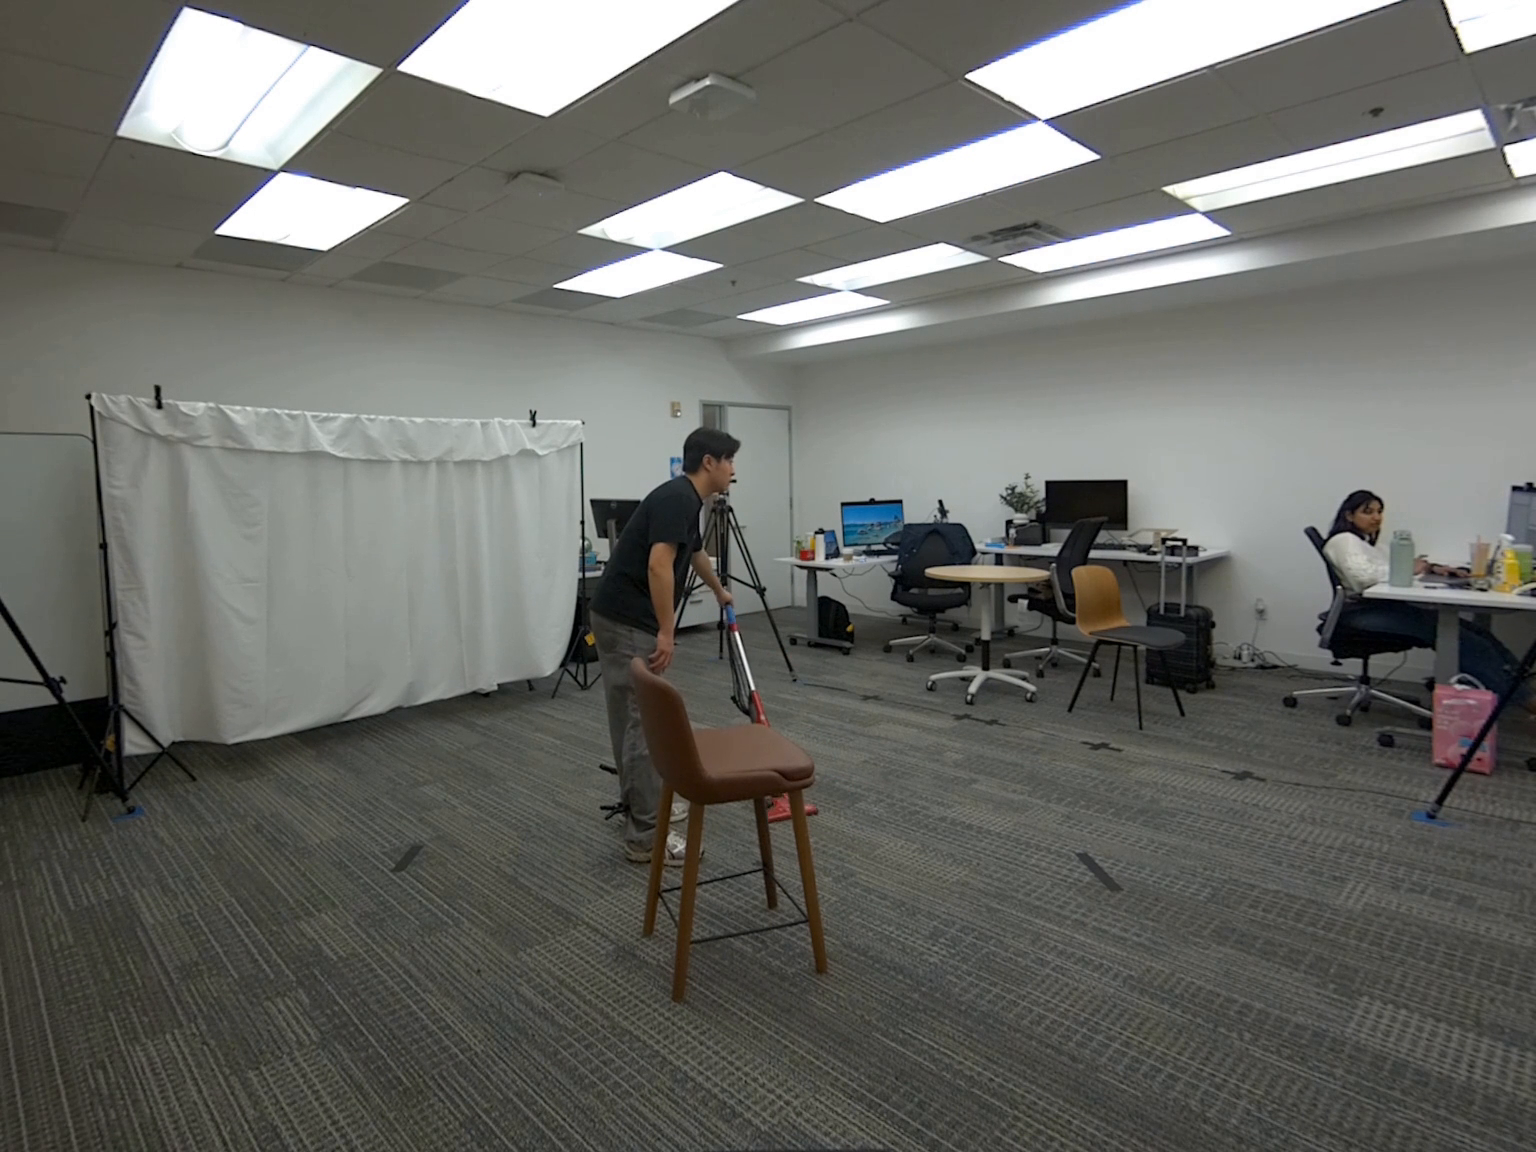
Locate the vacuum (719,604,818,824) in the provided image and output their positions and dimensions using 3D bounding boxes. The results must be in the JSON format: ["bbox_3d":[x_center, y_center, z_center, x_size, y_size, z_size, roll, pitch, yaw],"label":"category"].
[{"bbox_3d":[-0.080,0.547,3.831,0.247,1.081,0.143,-2,-33,-27],"label":"vacuum"}]
